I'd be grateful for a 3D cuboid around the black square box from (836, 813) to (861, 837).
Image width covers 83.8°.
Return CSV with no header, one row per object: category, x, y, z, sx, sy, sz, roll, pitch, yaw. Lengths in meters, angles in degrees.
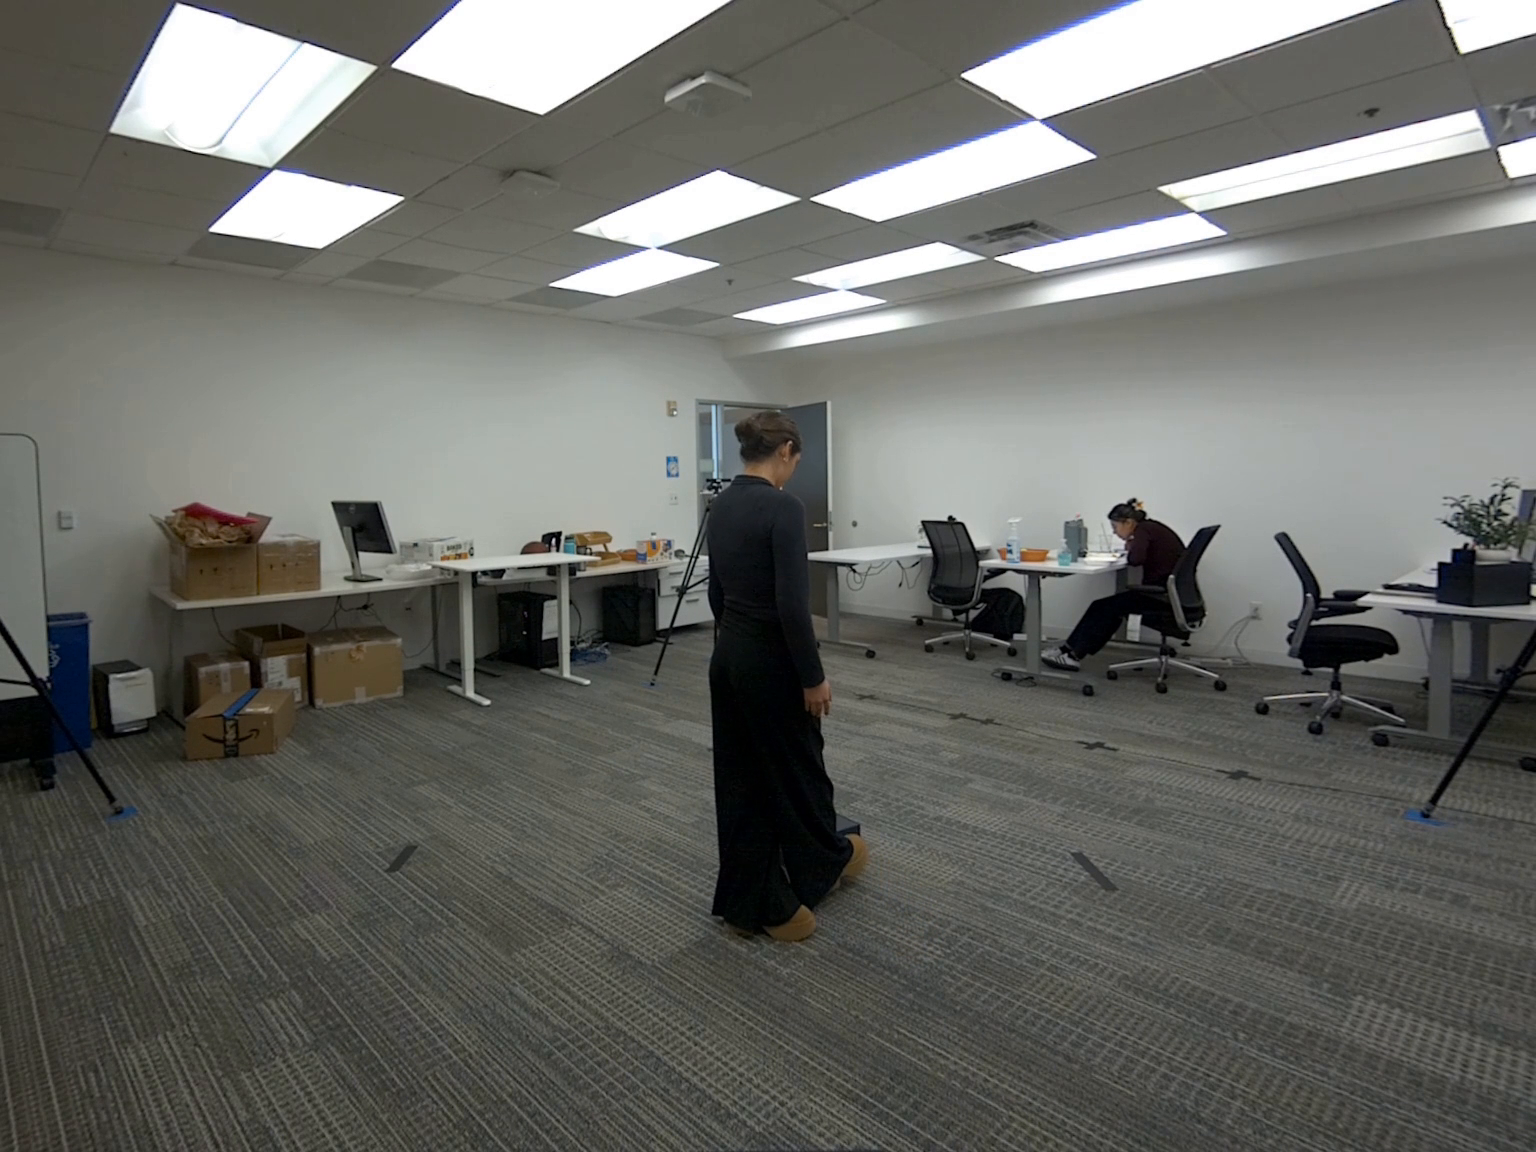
black square box,0.187,0.961,3.082,0.222,0.155,0.223,-4,6,-38
